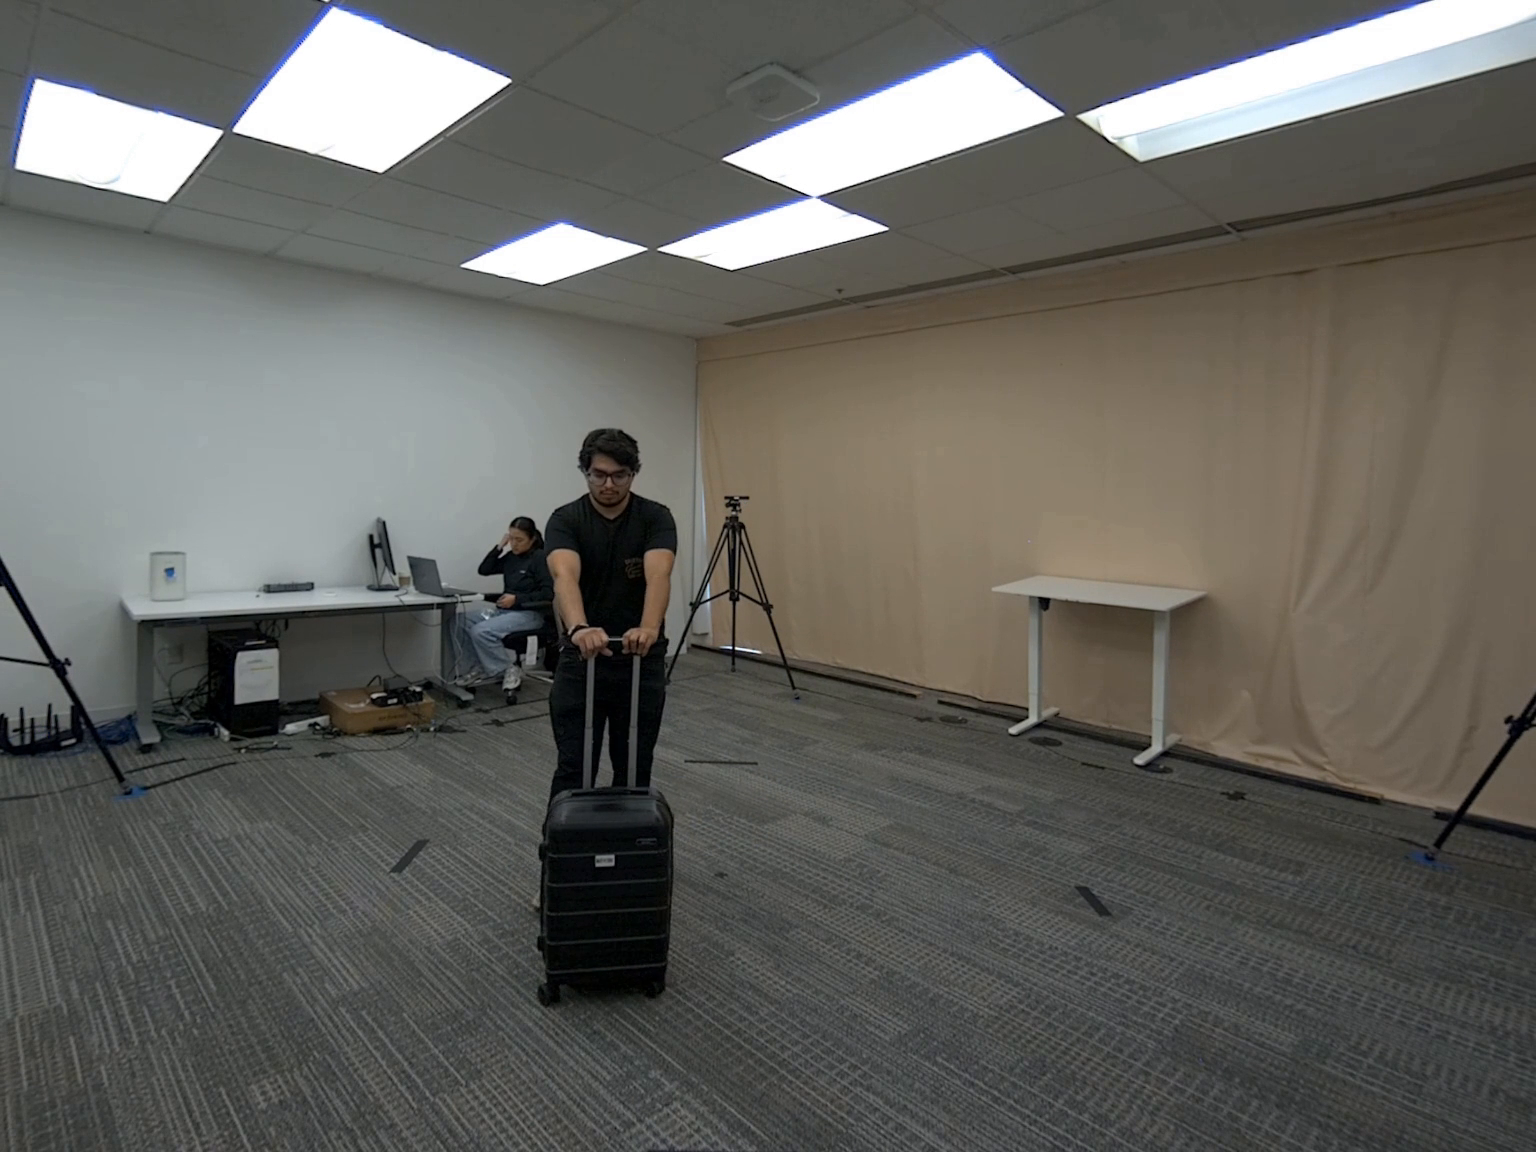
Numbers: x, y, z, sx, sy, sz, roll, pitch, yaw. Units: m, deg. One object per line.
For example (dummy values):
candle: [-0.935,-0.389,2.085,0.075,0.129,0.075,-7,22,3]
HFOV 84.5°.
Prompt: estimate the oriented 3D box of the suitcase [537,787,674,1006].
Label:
suitcase: [-0.447,0.684,2.378,0.382,0.974,0.260,2,6,-7]
